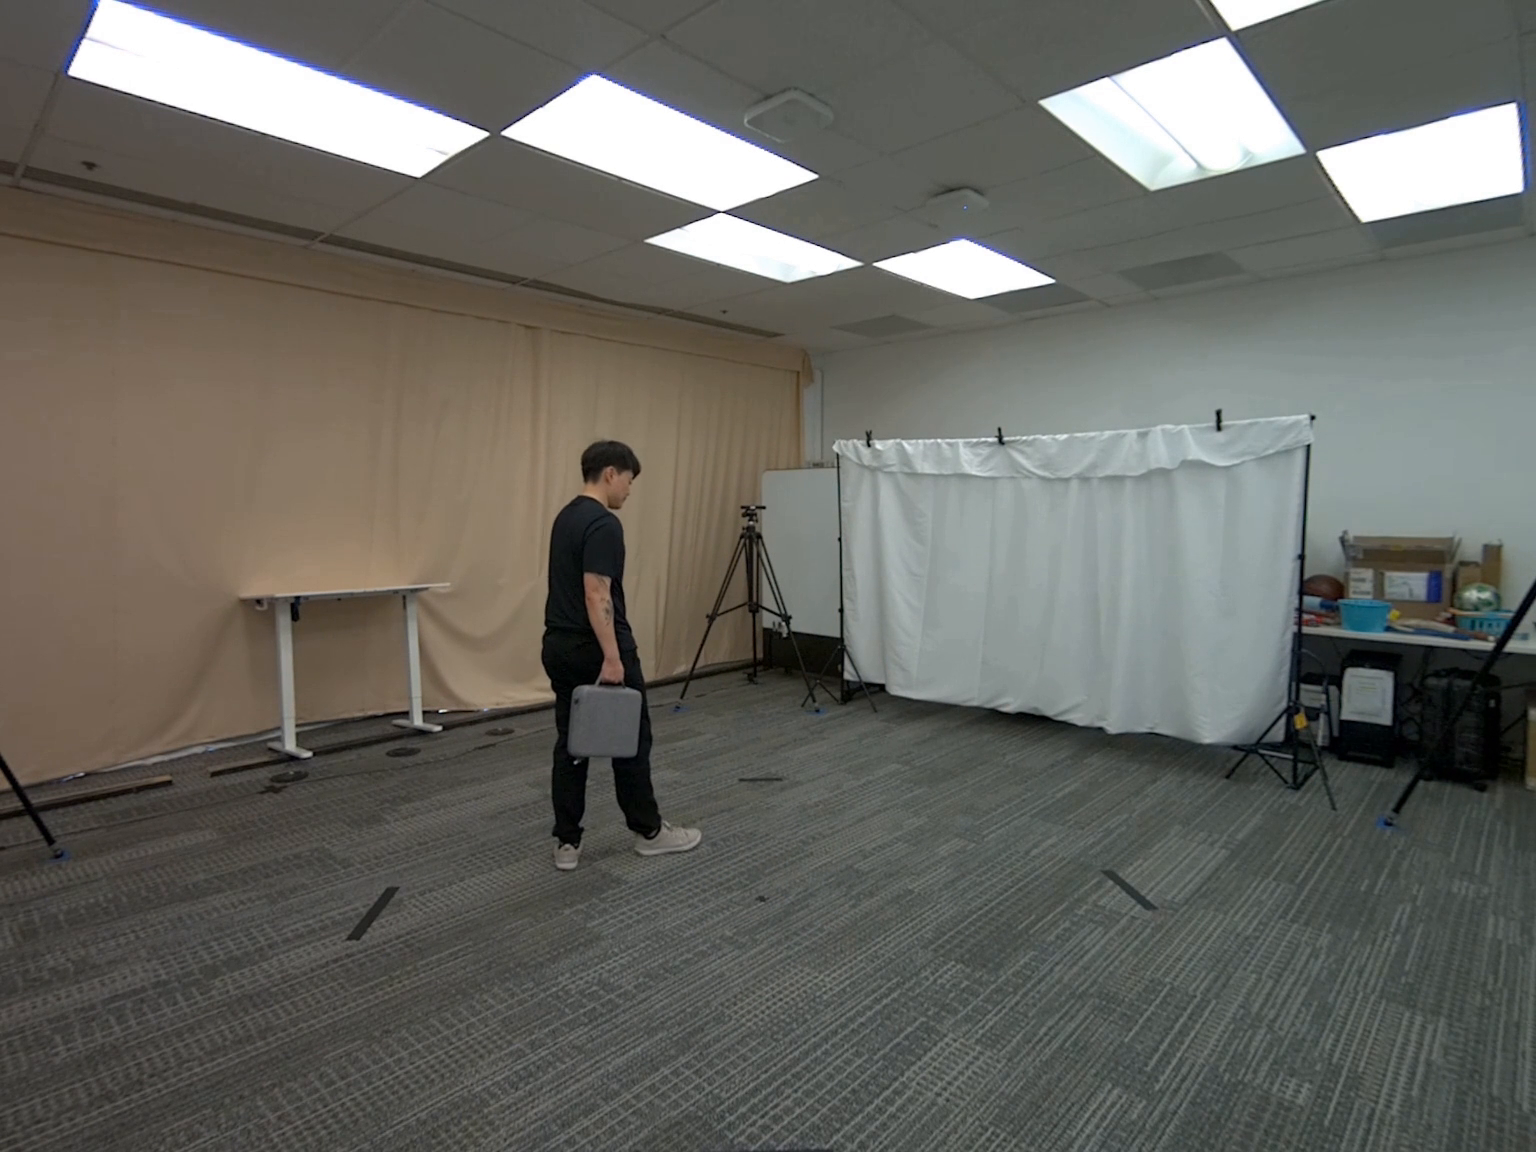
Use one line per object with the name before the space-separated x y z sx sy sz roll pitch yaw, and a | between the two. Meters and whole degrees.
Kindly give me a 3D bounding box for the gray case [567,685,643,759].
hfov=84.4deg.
gray case | -0.584 0.528 3.109 0.249 0.261 0.107 7 -5 -29
